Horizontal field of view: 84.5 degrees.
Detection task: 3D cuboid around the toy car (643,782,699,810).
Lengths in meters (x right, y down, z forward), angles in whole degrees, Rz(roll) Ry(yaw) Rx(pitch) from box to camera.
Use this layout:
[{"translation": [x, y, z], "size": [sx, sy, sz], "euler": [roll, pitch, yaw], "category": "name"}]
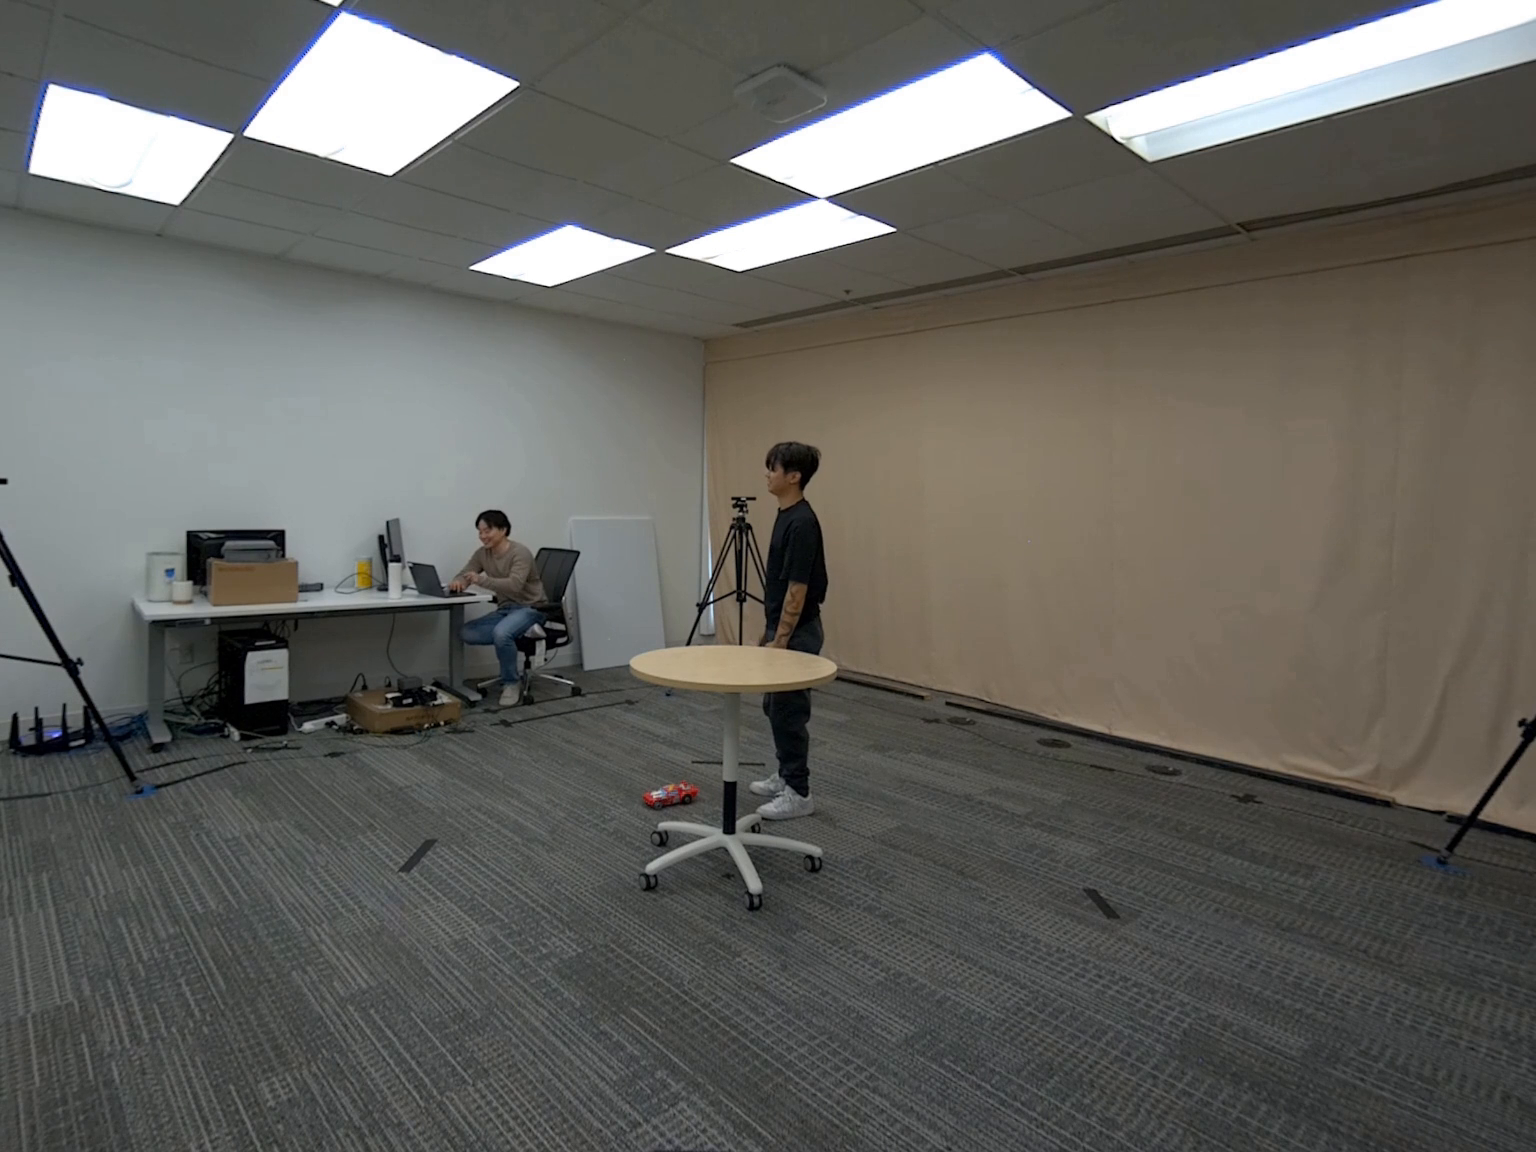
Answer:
[{"translation": [-0.454, 1.006, 3.848], "size": [0.250, 0.082, 0.133], "euler": [-14, 10, -29], "category": "toy car"}]
